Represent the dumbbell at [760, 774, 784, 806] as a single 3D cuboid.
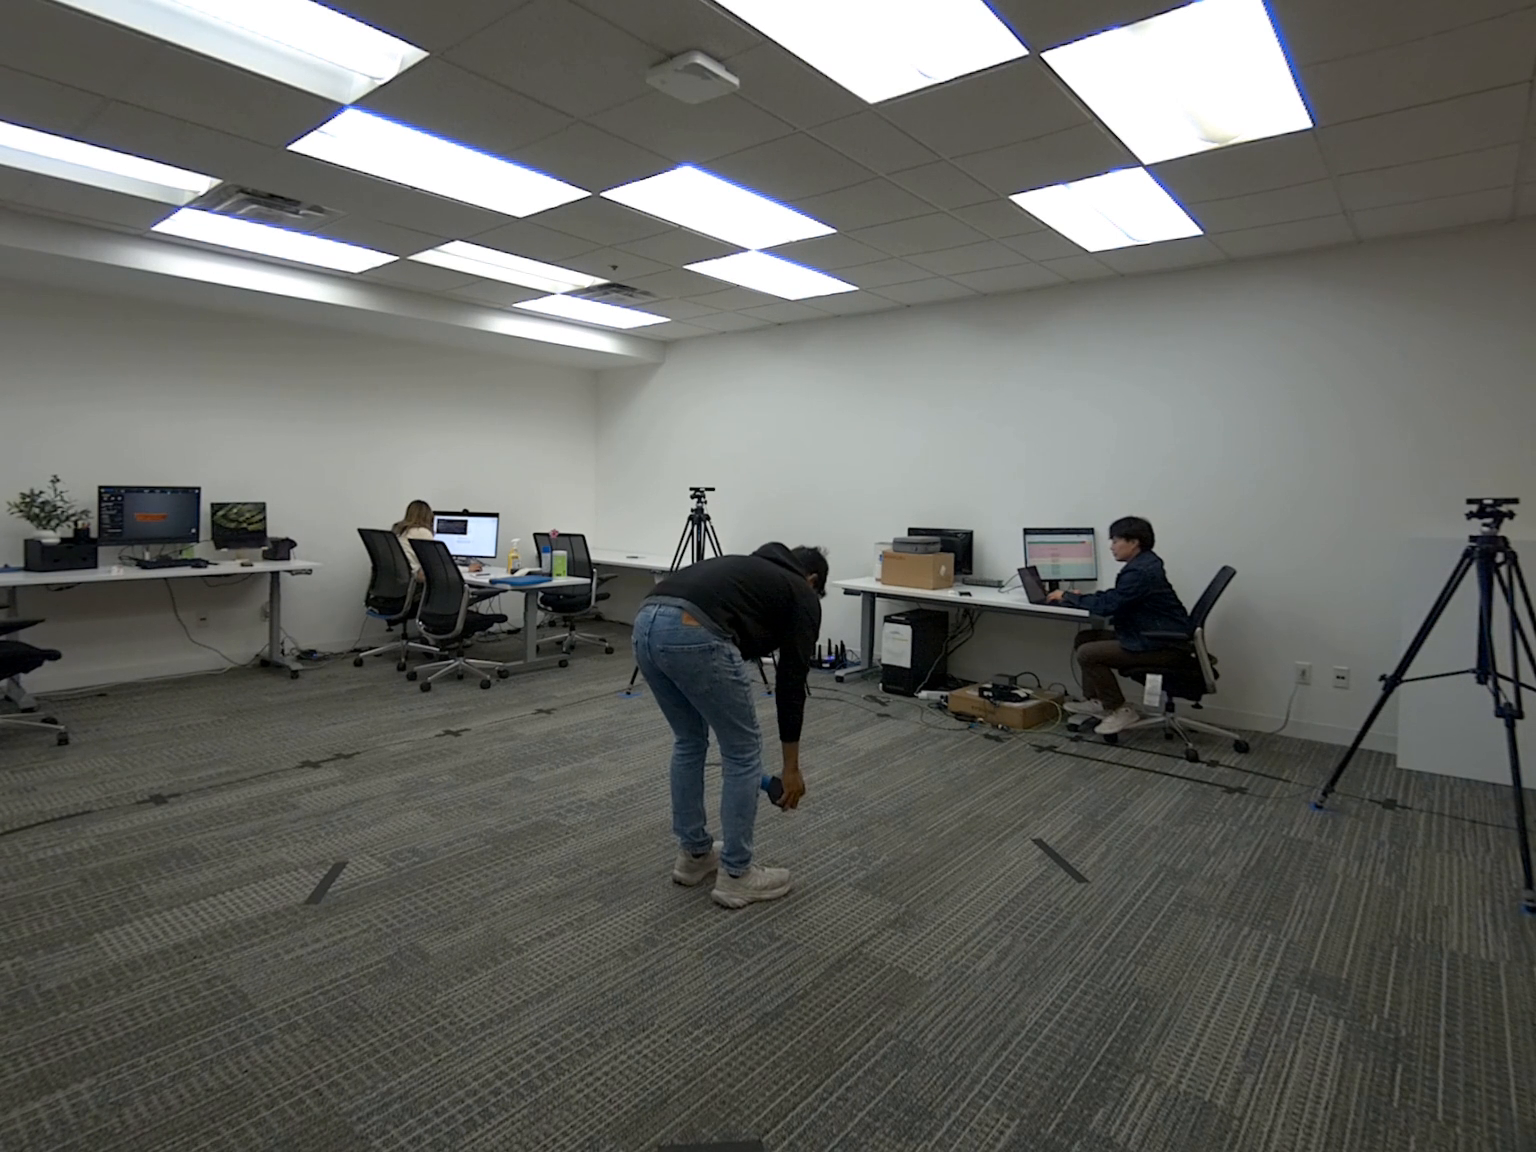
[{"bbox_3d":[-0.033,0.750,3.131,0.304,0.108,0.119,9,11,44],"label":"dumbbell"}]
